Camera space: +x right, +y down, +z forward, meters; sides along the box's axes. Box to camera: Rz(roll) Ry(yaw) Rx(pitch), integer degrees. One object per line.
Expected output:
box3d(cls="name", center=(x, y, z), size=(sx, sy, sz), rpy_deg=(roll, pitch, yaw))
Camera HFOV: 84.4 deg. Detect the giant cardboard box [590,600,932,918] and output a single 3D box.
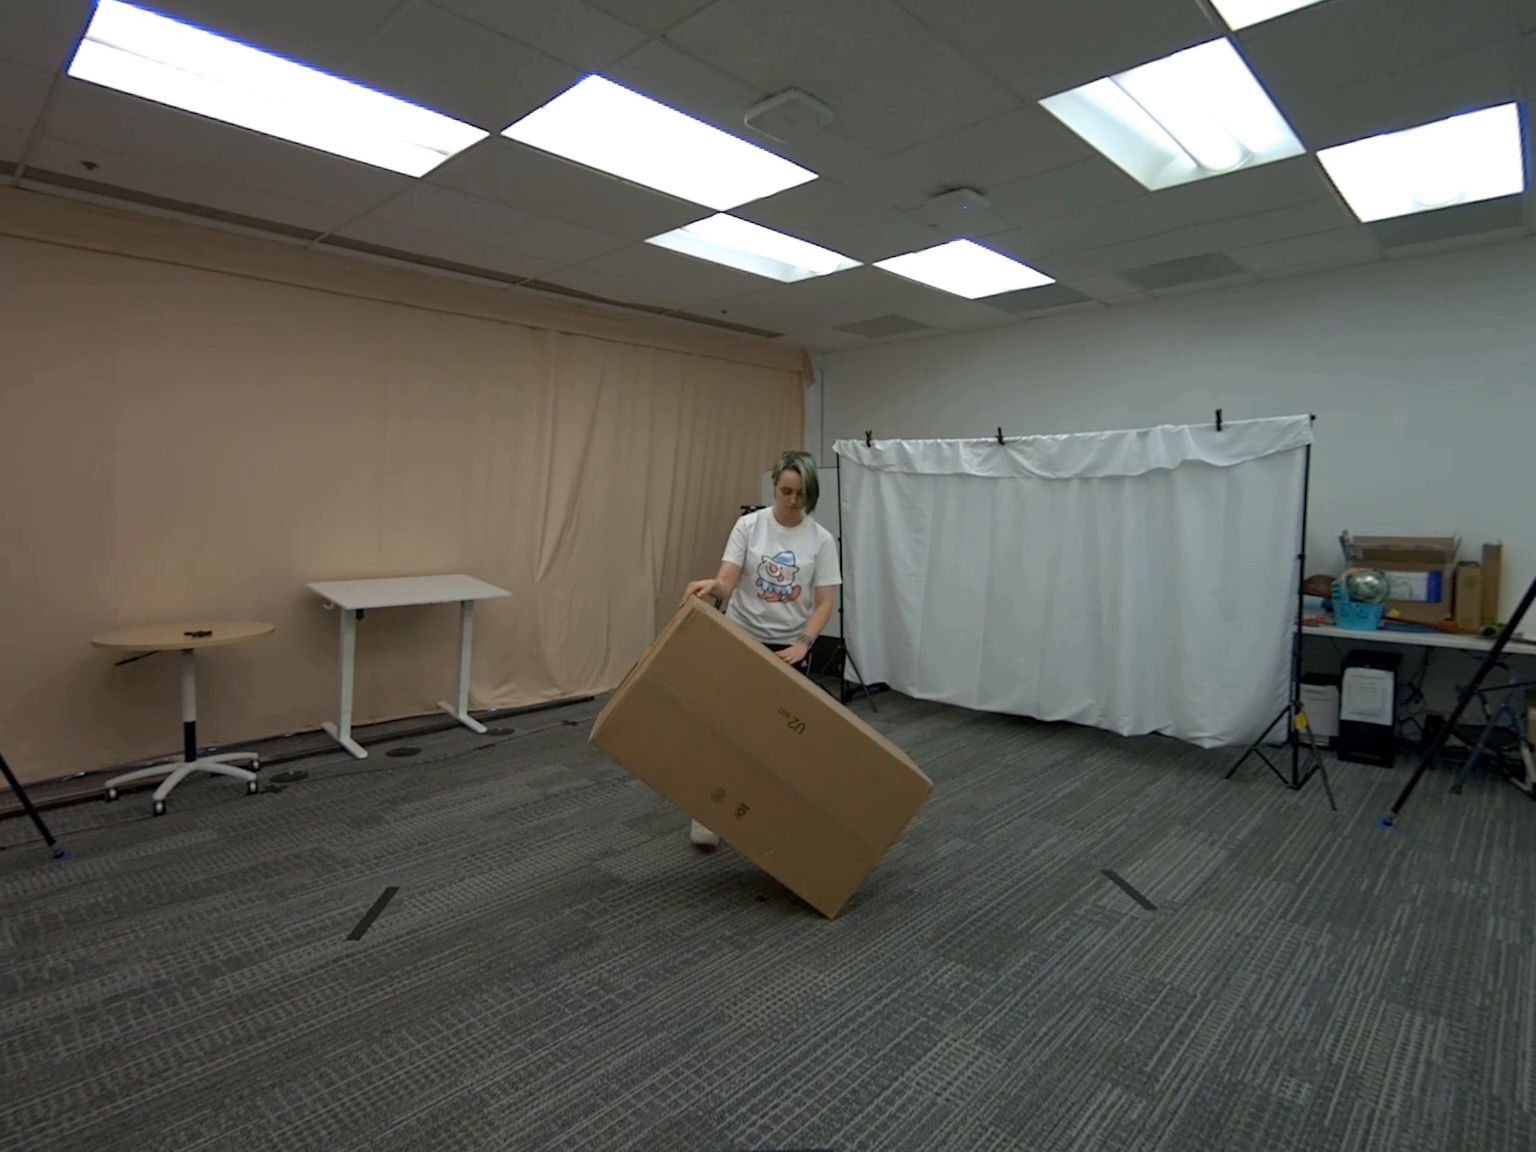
box3d(cls="giant cardboard box", center=(-0.034, 0.613, 2.996), size=(1.020, 0.577, 0.428), rpy_deg=(37, 0, -5))
